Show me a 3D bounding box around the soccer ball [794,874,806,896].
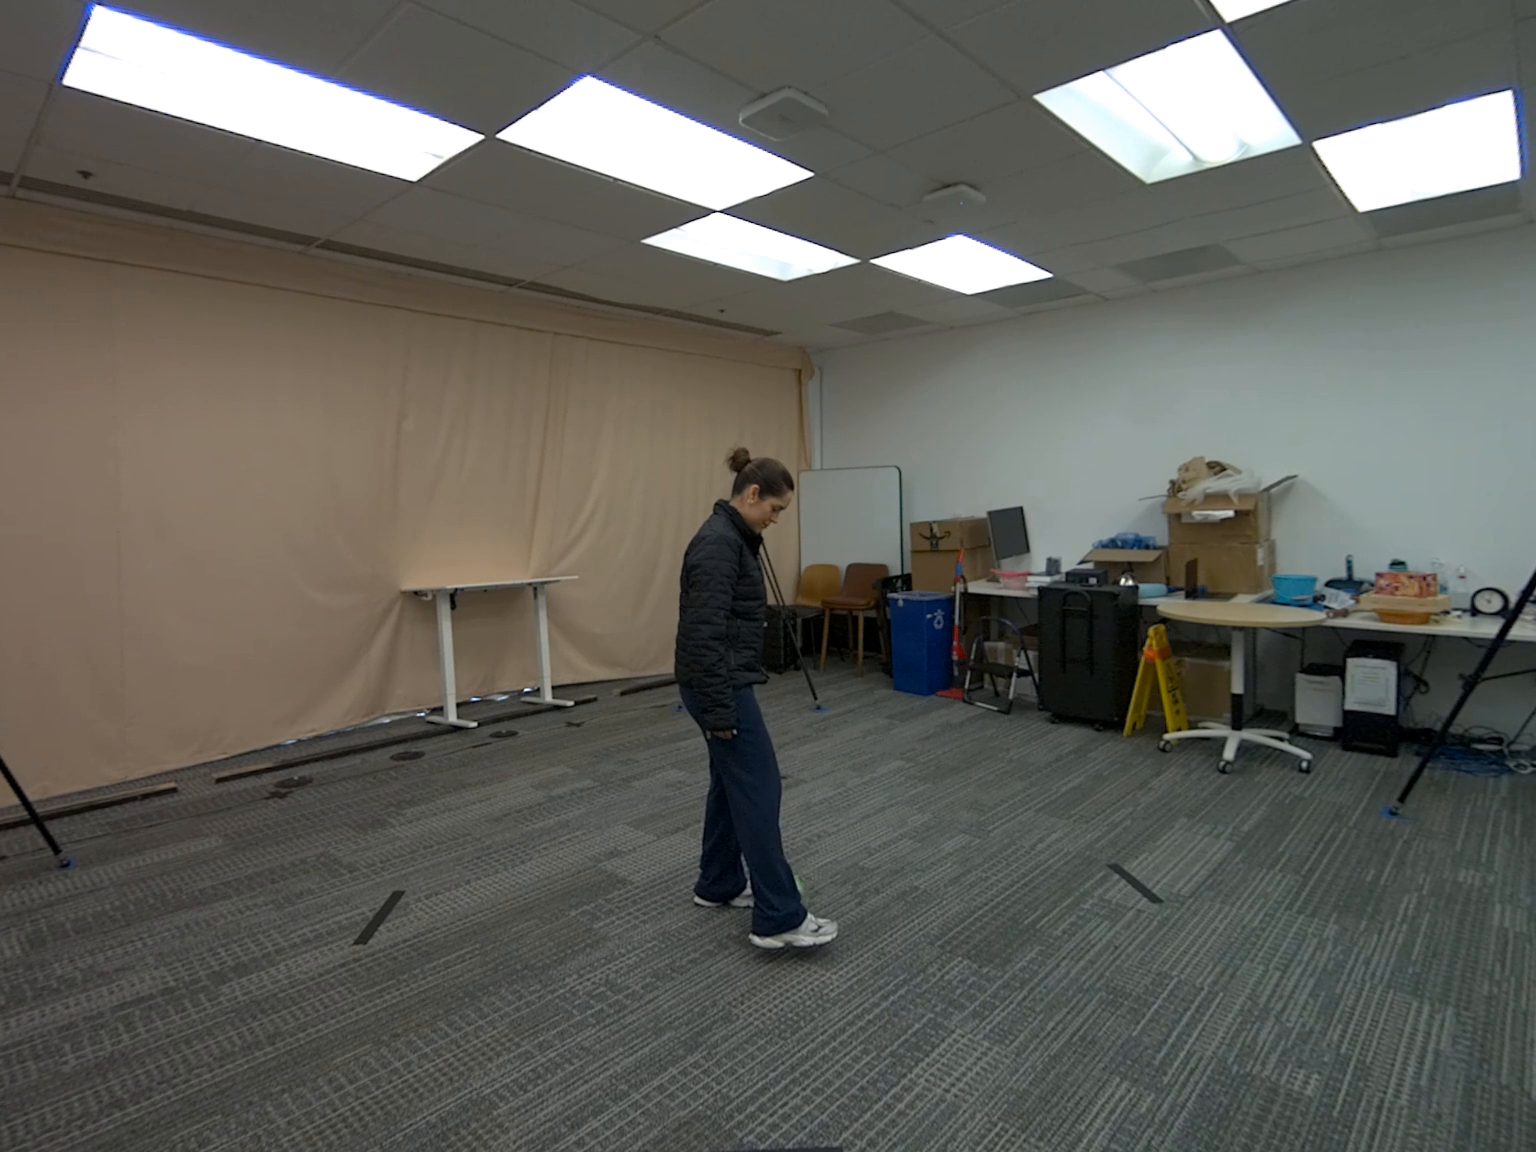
[{"bbox_3d":[0.049,1.062,2.771,0.187,0.187,0.188,-1,4,-2],"label":"soccer ball"}]
